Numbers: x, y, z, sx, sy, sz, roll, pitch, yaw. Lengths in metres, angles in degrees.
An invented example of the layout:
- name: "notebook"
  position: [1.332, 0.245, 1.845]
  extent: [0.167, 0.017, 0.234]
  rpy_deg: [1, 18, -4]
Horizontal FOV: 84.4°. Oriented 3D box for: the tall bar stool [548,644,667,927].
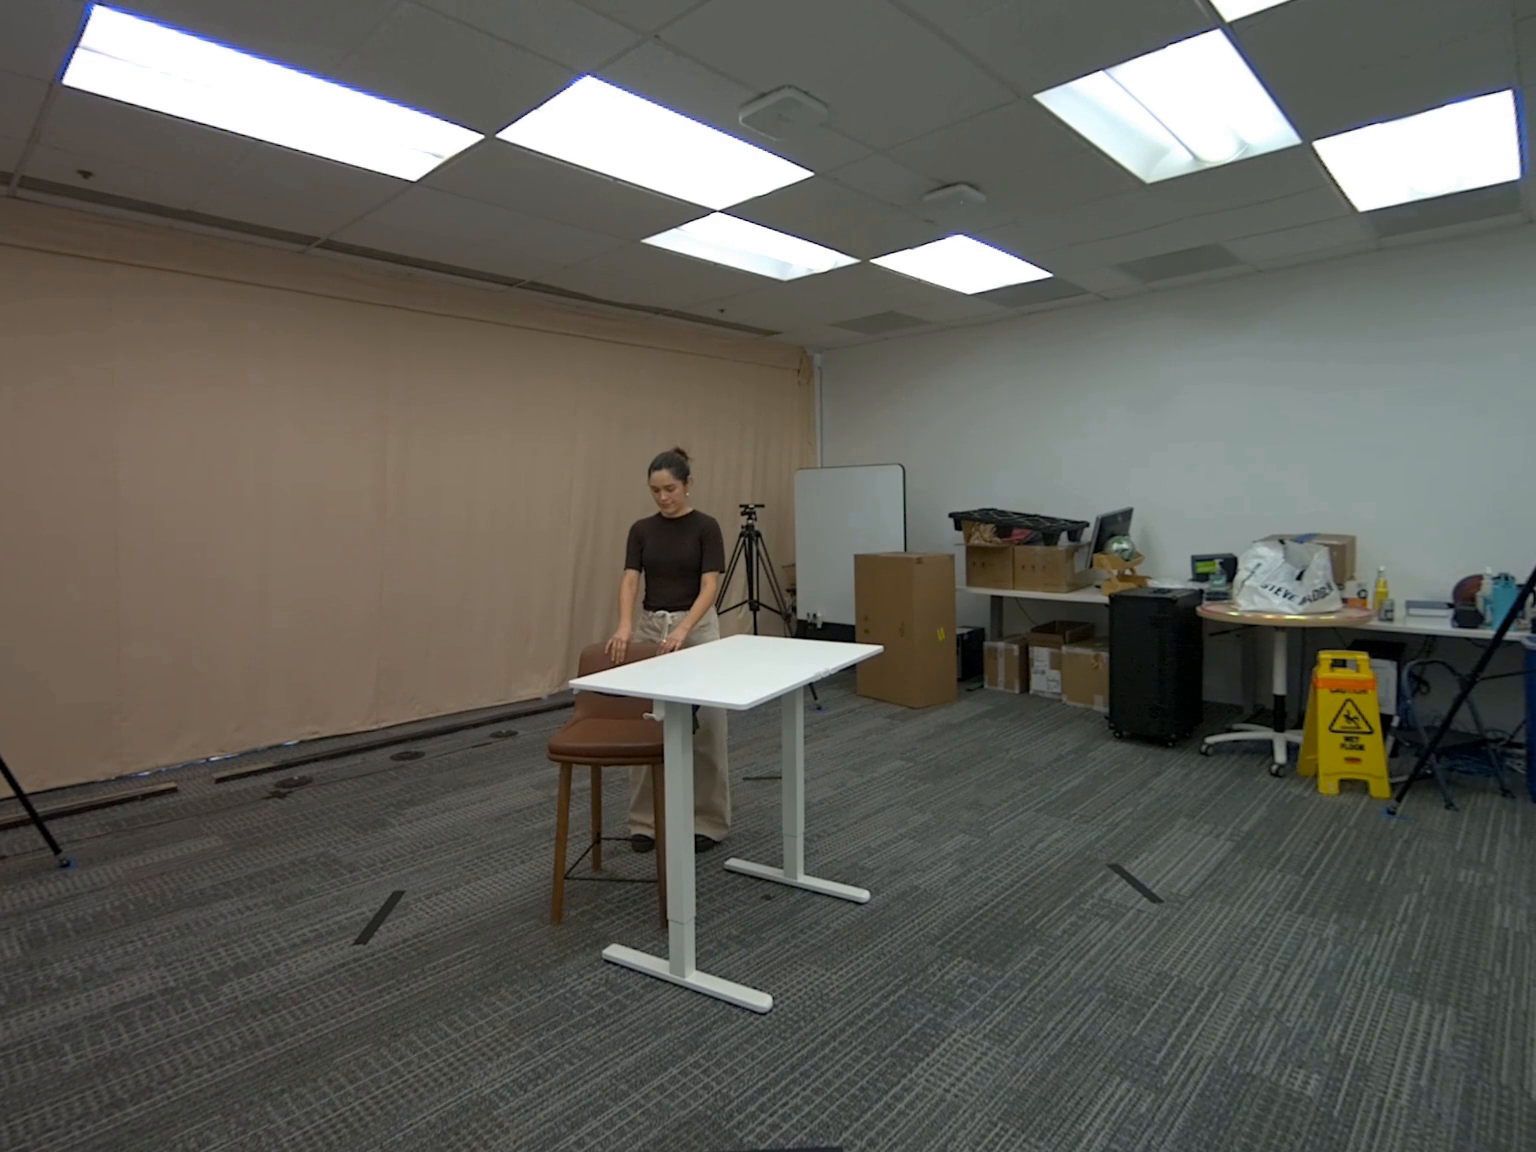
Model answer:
- name: "tall bar stool"
  position: [-0.517, 0.707, 3.003]
  extent: [0.461, 0.889, 0.463]
  rpy_deg: [0, 1, 8]
